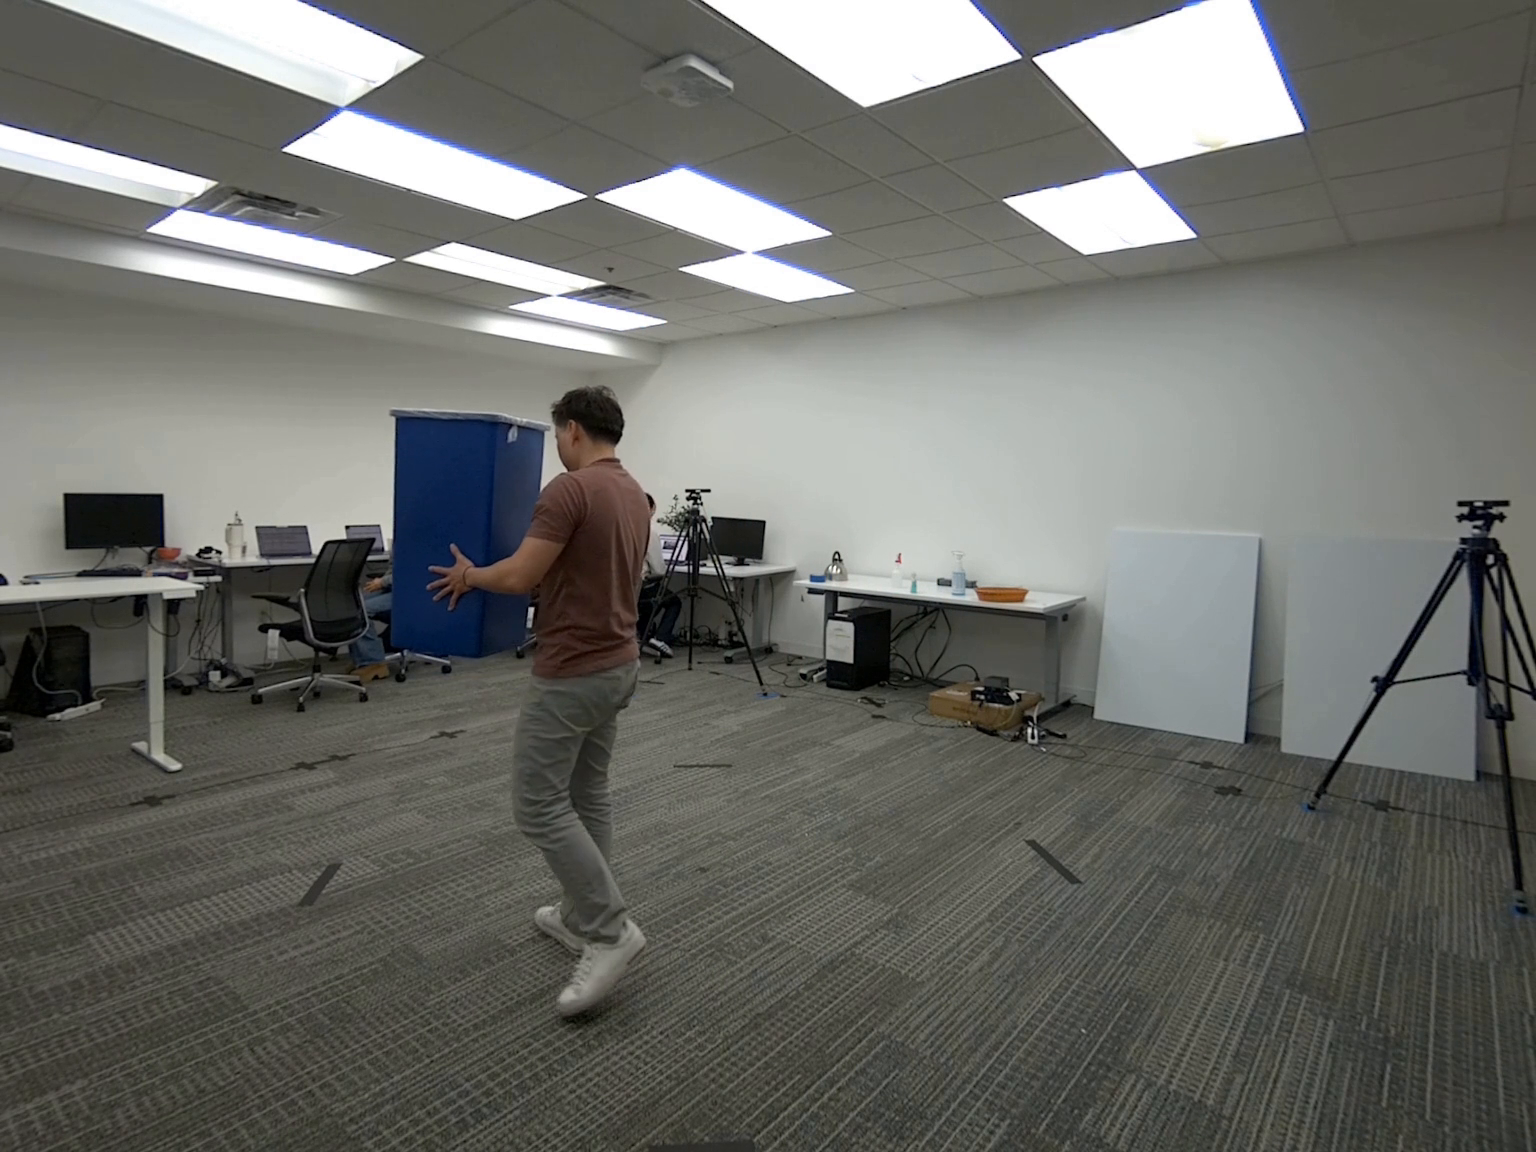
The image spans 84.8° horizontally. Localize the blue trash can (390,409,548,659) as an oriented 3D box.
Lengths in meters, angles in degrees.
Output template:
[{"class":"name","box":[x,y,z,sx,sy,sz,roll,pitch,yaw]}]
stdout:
[{"class":"blue trash can","box":[-0.949,-0.140,2.639,0.380,0.712,0.373,6,3,13]}]
